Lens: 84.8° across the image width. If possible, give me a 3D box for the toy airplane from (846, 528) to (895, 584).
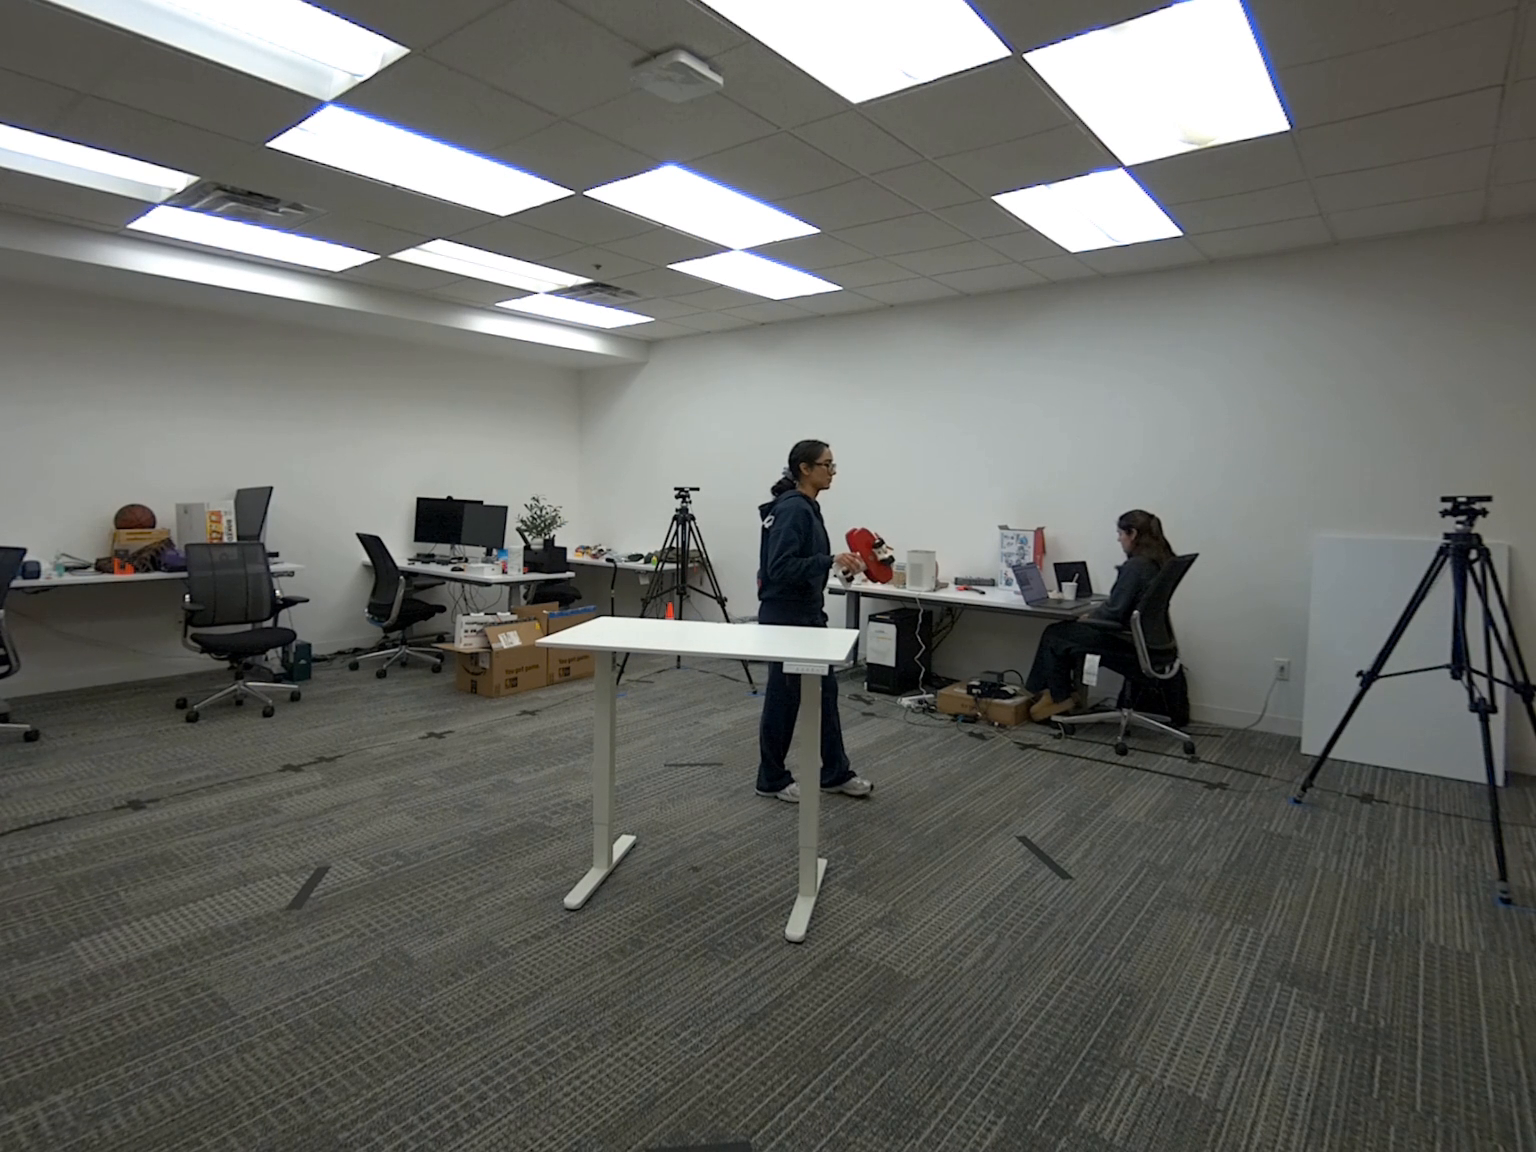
[{"bbox_3d":[0.384,-0.089,3.566,0.258,0.249,0.158,-4,8,-4],"label":"toy airplane"}]
